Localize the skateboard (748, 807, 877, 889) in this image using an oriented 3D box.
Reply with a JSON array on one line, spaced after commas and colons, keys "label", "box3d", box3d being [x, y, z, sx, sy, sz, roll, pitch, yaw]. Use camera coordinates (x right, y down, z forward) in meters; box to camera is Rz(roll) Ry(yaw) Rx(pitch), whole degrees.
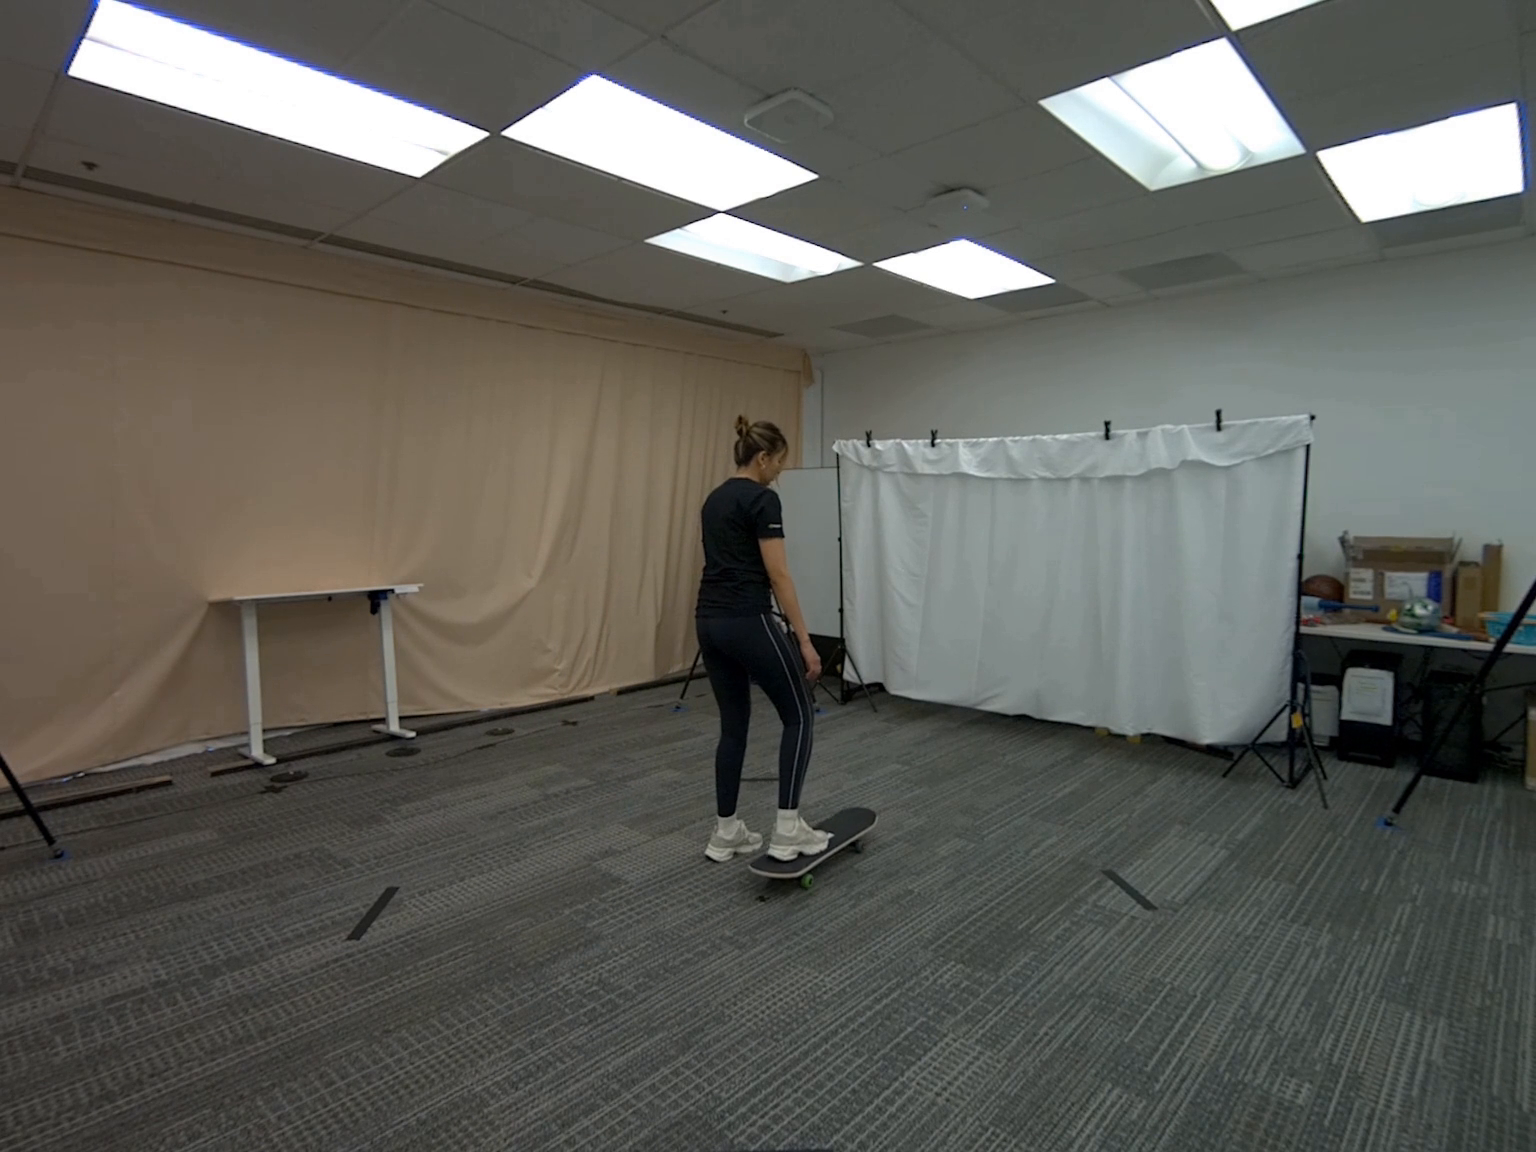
[{"label": "skateboard", "box3d": [0.191, 1.065, 3.256, 0.199, 0.110, 0.762, 1, 5, 36]}]
